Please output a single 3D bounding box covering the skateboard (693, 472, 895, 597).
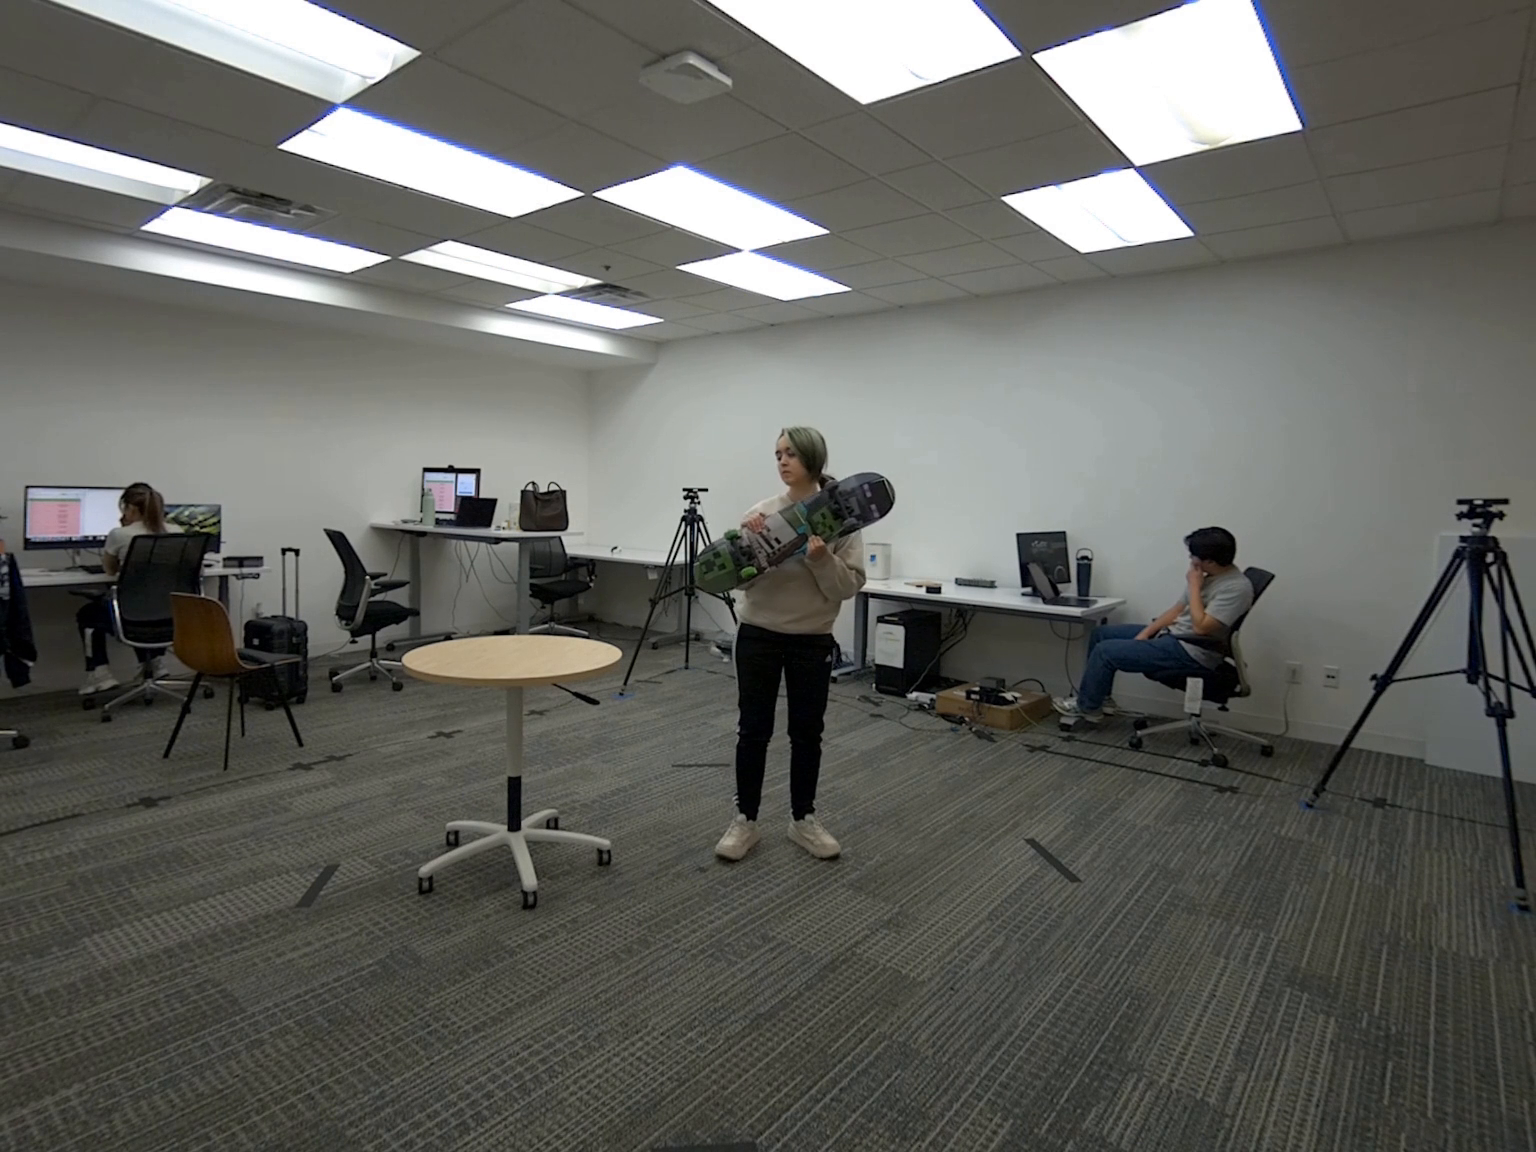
[{"bbox_3d":[0.088,-0.170,3.040,0.788,0.197,0.108,-24,-15,6],"label":"skateboard"}]
